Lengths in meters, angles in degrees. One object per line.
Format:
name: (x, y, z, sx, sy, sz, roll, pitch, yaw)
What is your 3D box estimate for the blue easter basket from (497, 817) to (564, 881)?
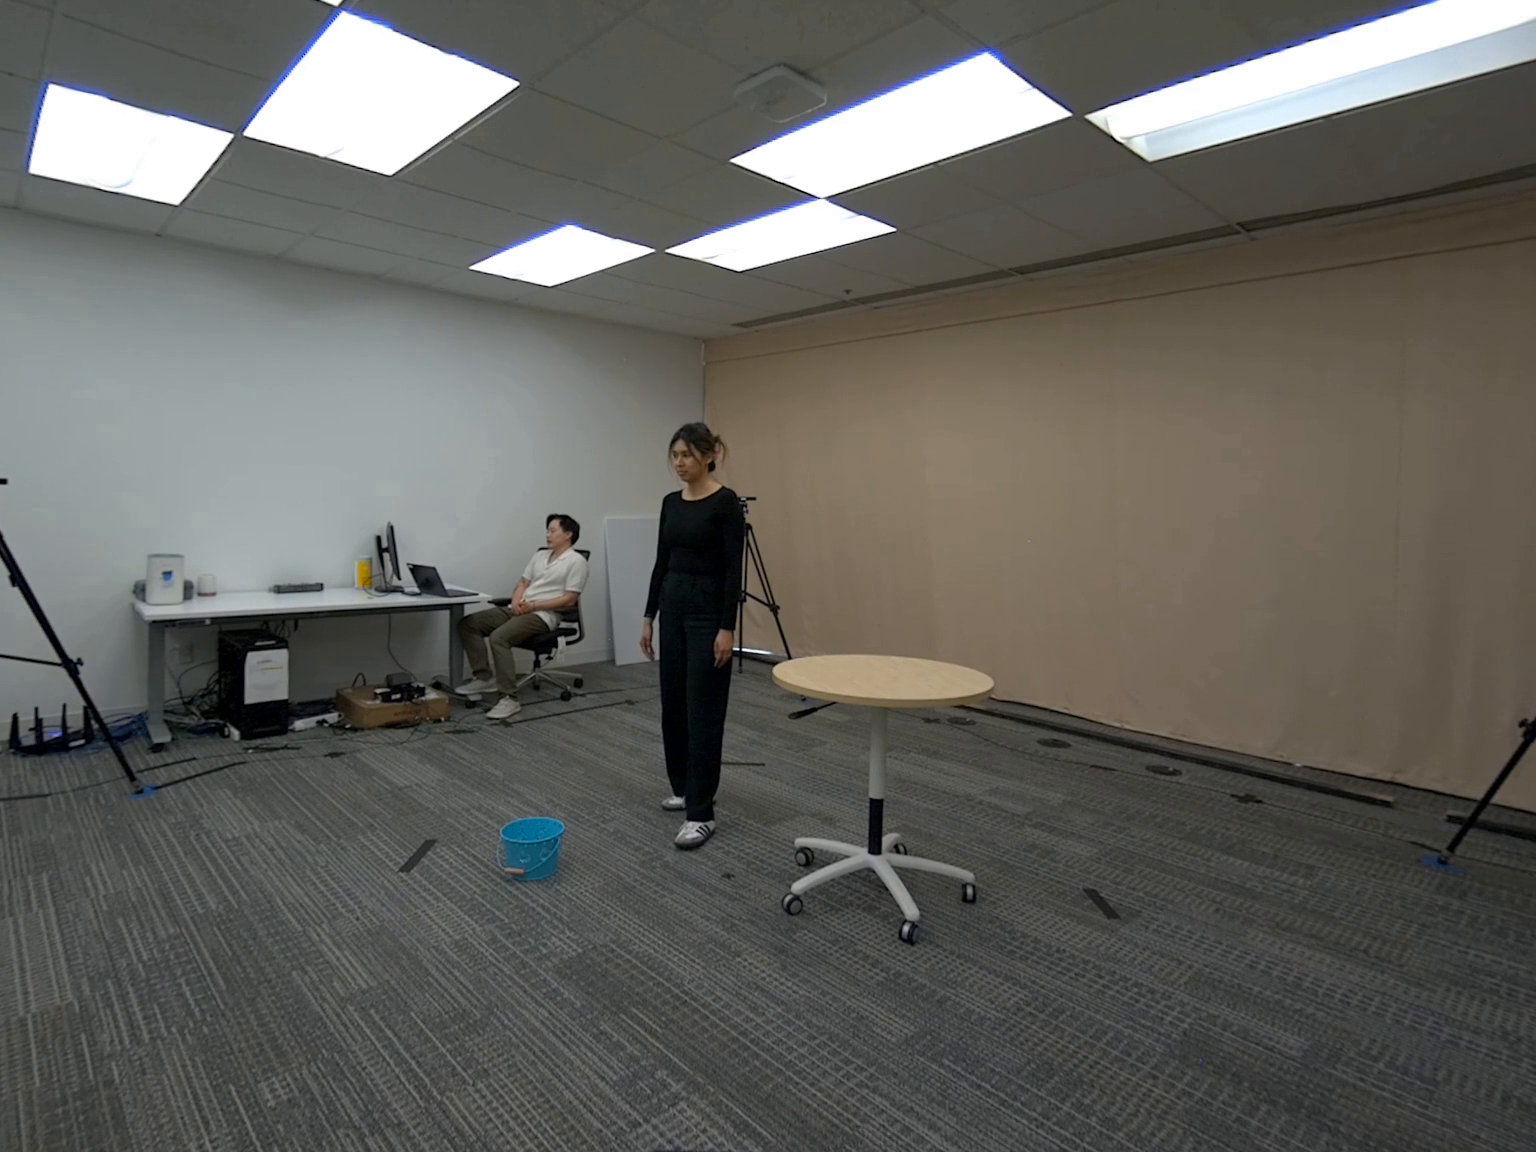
blue easter basket: (-0.884, 1.013, 3.112, 0.243, 0.155, 0.244, 1, 5, -1)
